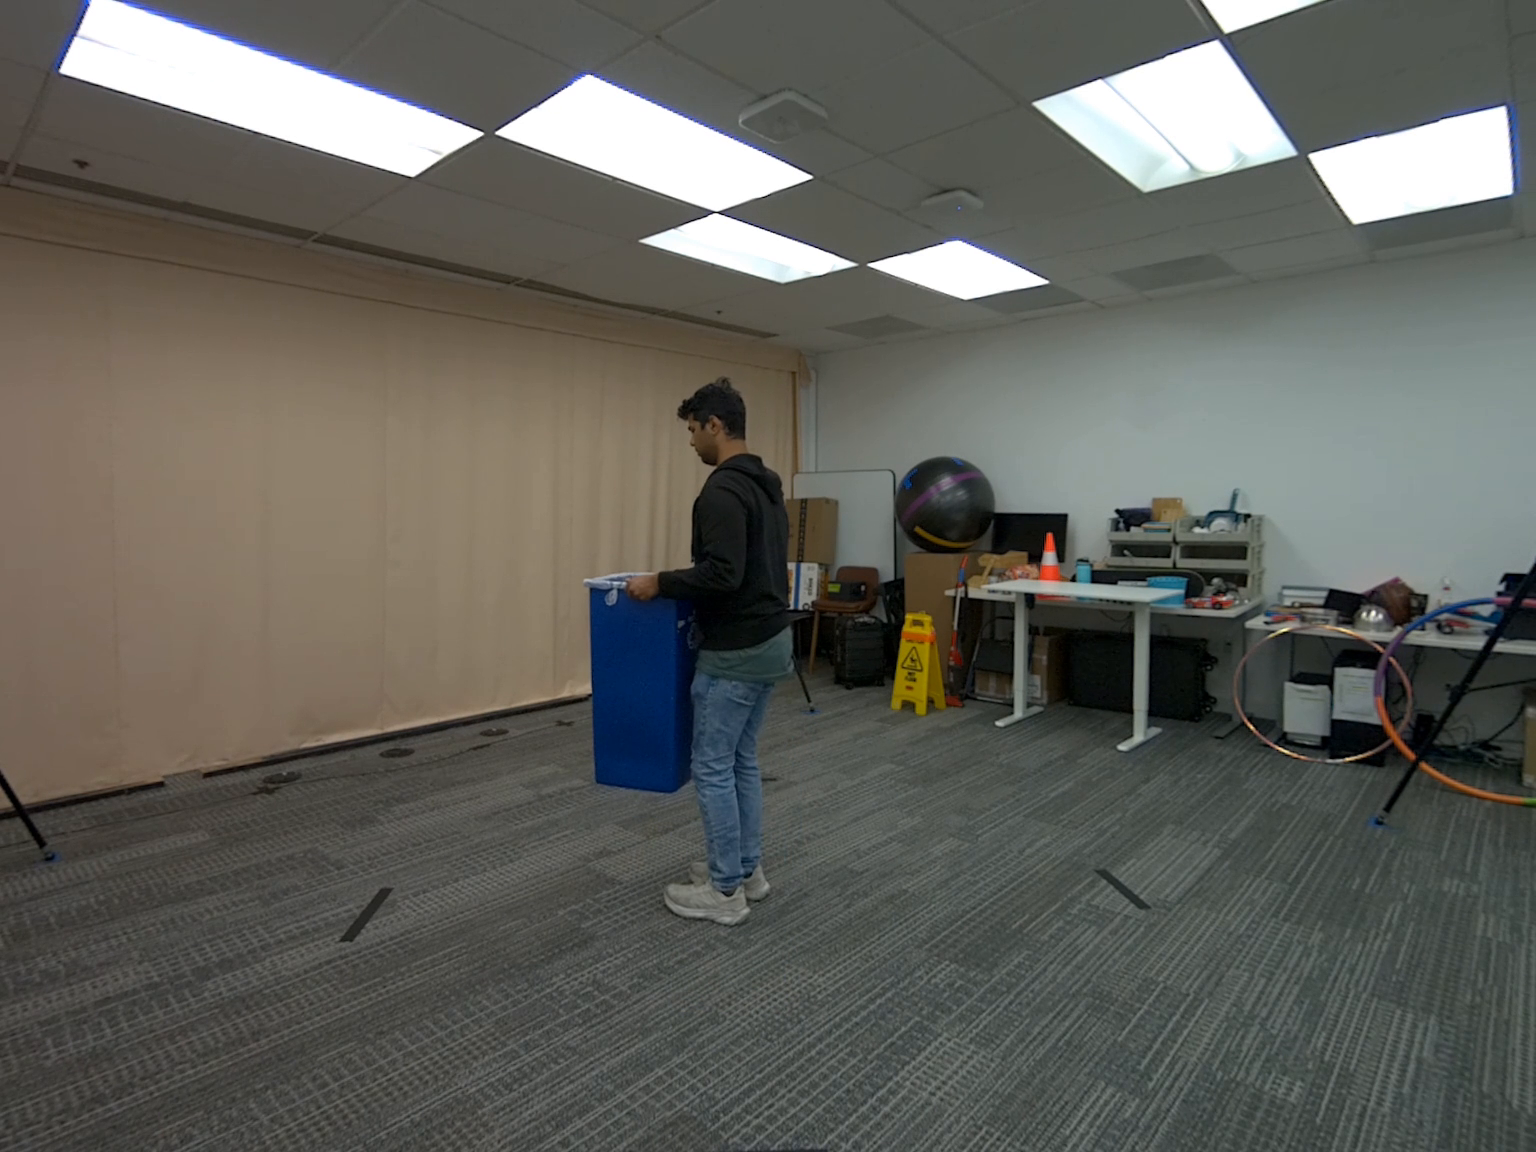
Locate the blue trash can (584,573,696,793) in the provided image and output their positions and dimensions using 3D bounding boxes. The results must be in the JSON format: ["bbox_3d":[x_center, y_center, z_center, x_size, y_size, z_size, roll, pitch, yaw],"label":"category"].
[{"bbox_3d":[-0.419,0.374,3.017,0.386,0.712,0.367,2,4,20],"label":"blue trash can"}]
